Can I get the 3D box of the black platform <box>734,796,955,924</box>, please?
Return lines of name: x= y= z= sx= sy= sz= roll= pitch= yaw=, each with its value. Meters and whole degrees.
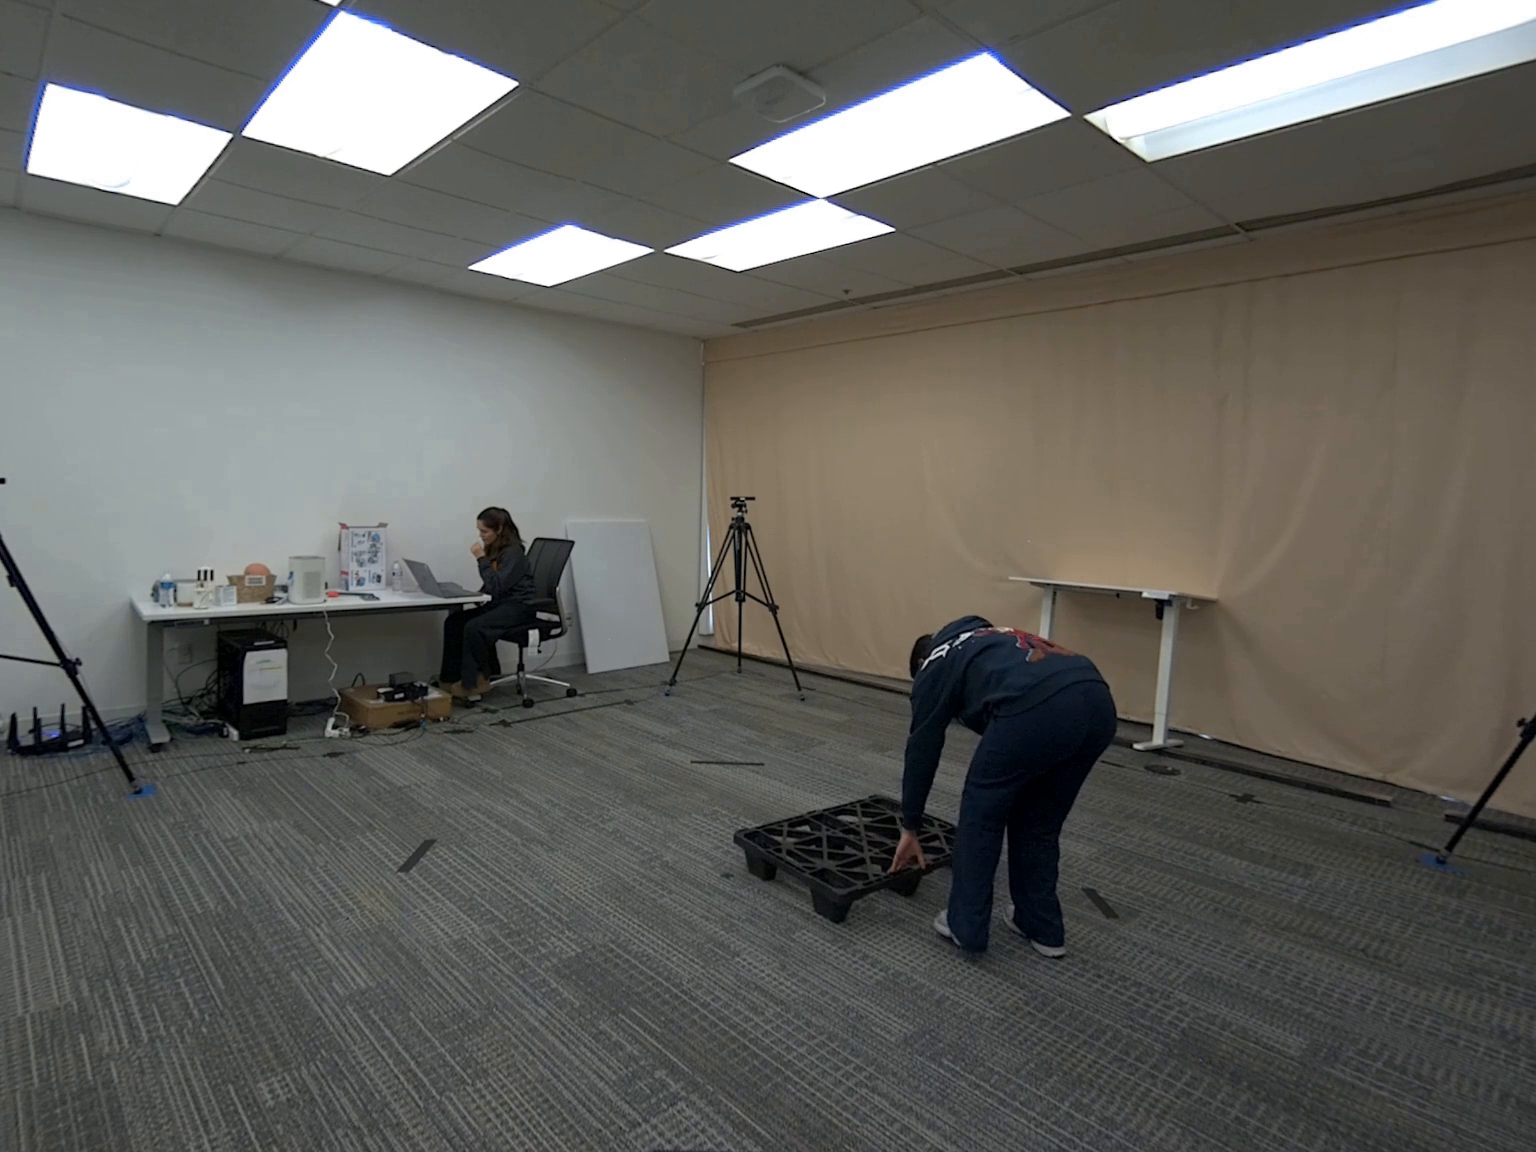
black platform: x=0.357 y=1.046 z=3.169 sx=0.788 sy=0.143 sz=0.620 roll=-3 pitch=7 yaw=-37
